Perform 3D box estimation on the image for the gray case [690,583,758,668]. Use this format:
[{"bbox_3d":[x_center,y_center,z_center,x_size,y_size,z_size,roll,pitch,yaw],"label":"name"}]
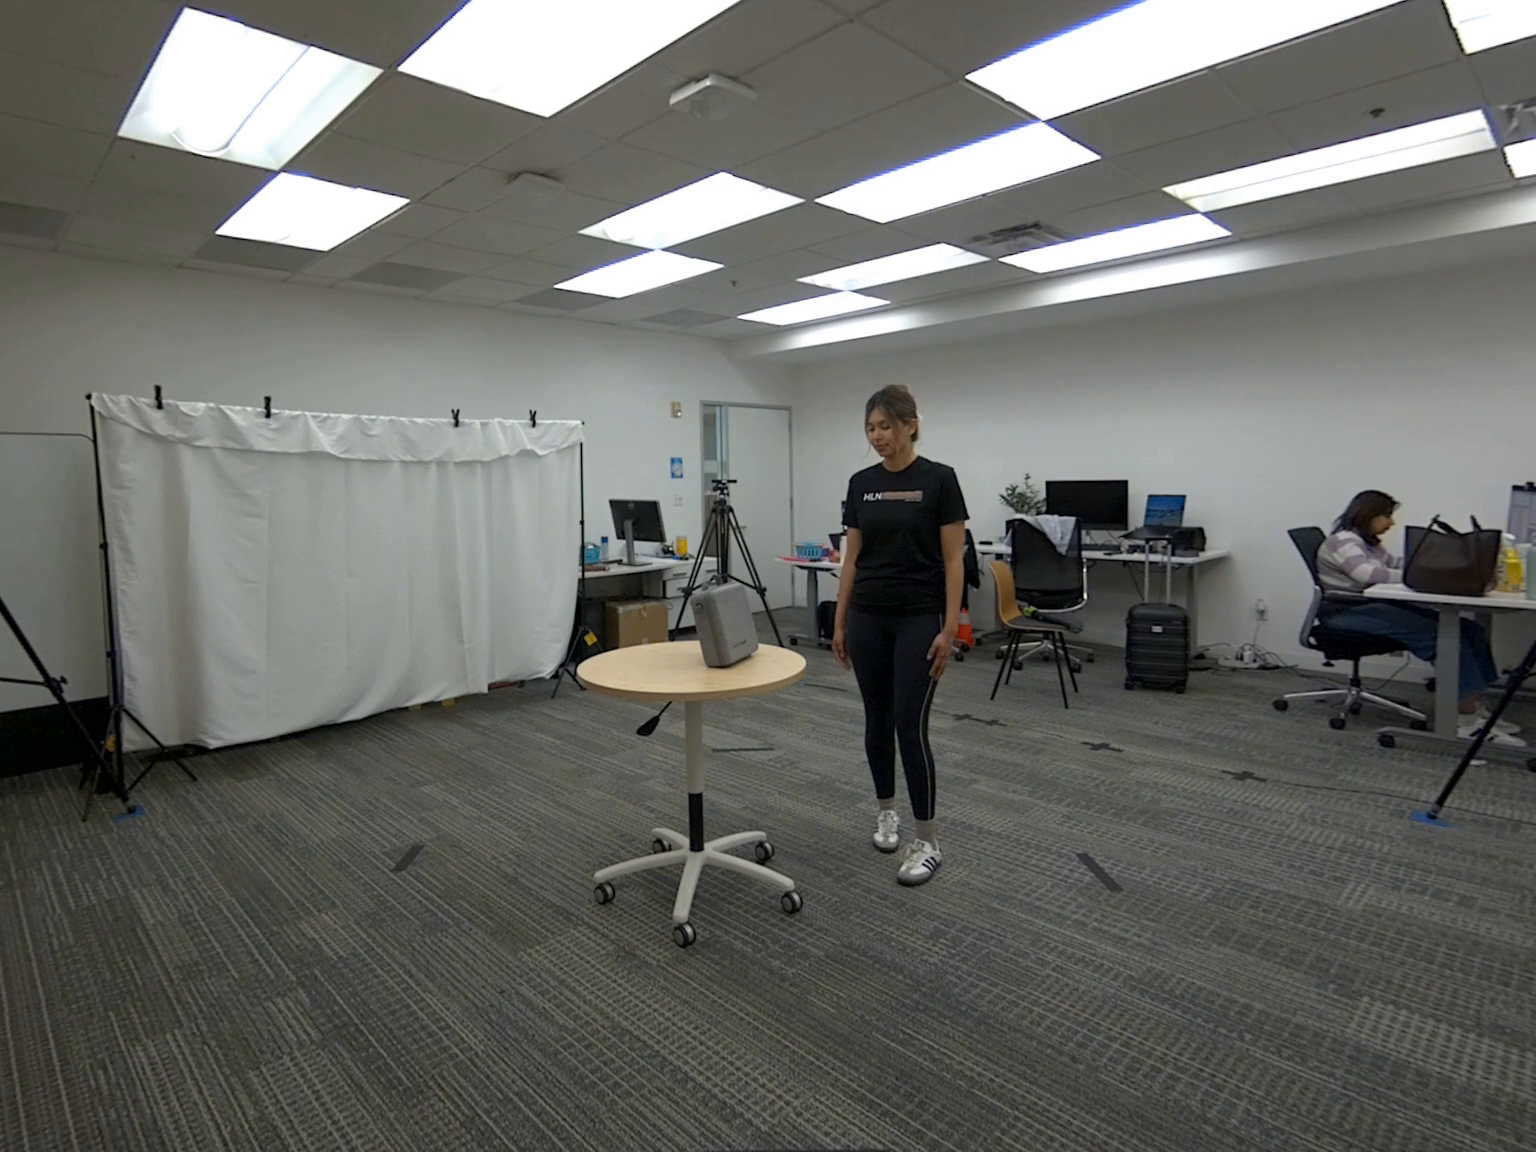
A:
[{"bbox_3d":[-0.141,0.156,2.891,0.106,0.261,0.252,-12,-1,24],"label":"gray case"}]
